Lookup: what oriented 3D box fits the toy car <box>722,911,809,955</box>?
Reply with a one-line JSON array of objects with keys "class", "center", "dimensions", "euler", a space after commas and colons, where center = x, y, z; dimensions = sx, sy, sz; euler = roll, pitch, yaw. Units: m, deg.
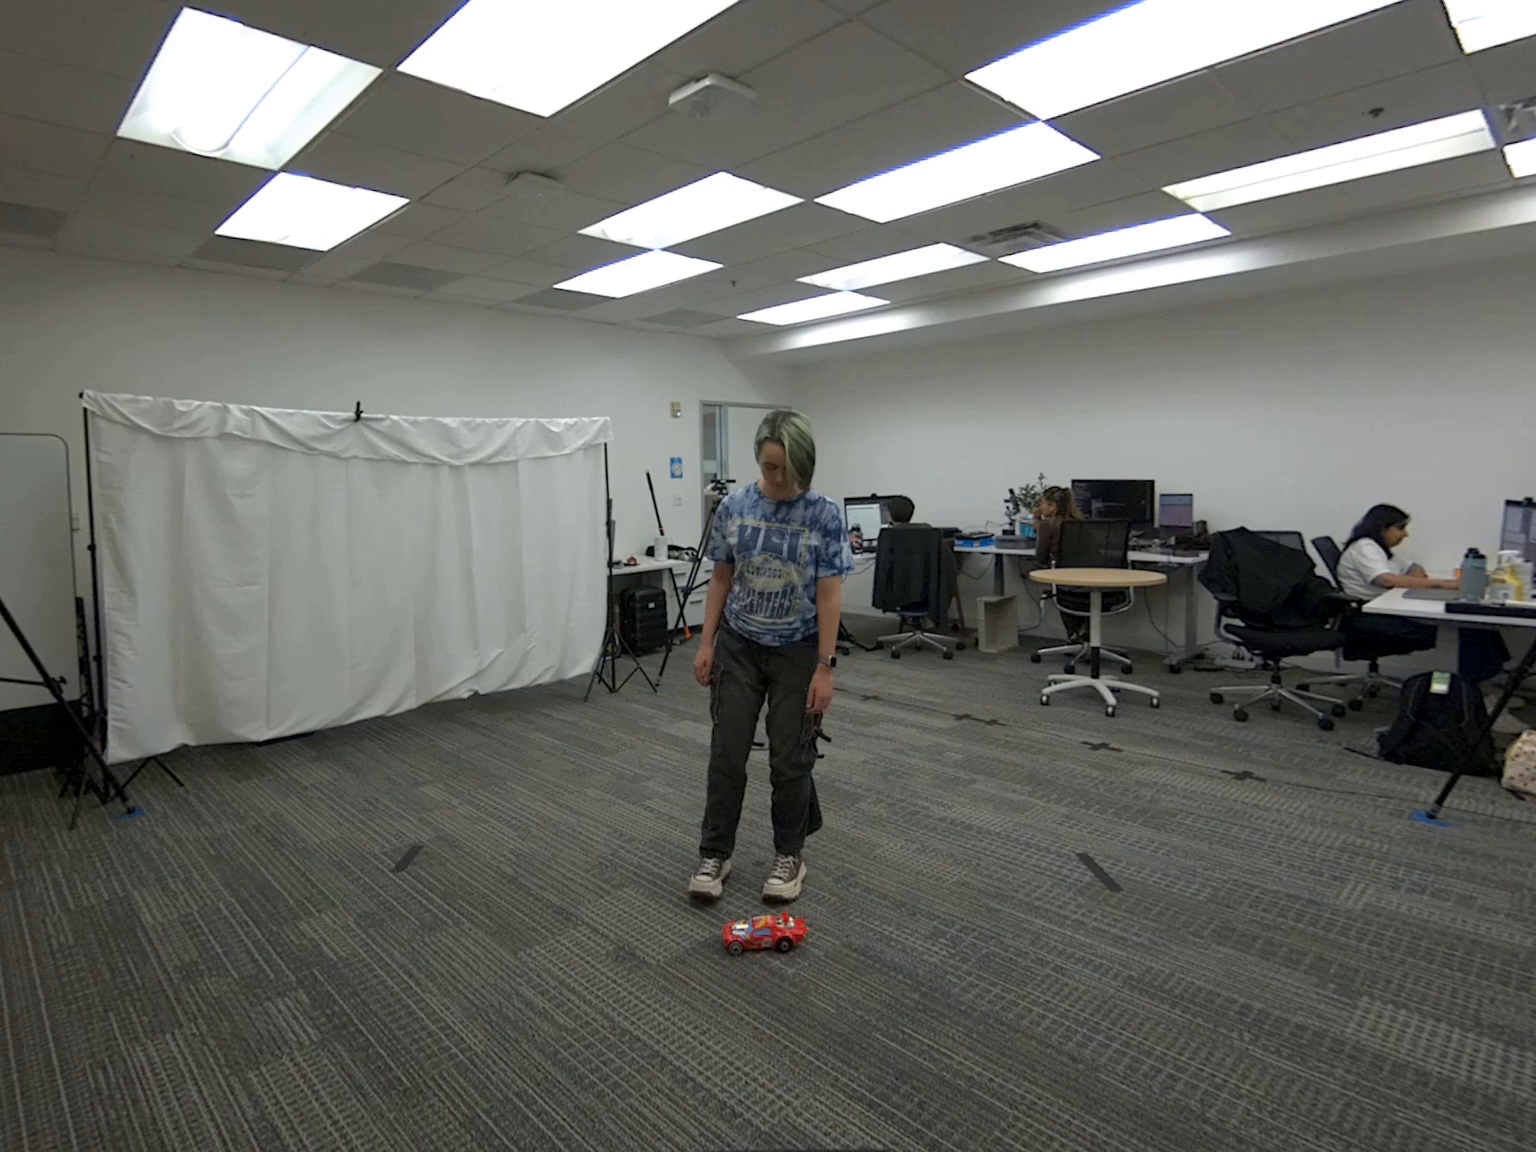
[{"class": "toy car", "center": [-0.003, 1.081, 2.565], "dimensions": [0.254, 0.083, 0.131], "euler": [-13, 6, -1]}]
